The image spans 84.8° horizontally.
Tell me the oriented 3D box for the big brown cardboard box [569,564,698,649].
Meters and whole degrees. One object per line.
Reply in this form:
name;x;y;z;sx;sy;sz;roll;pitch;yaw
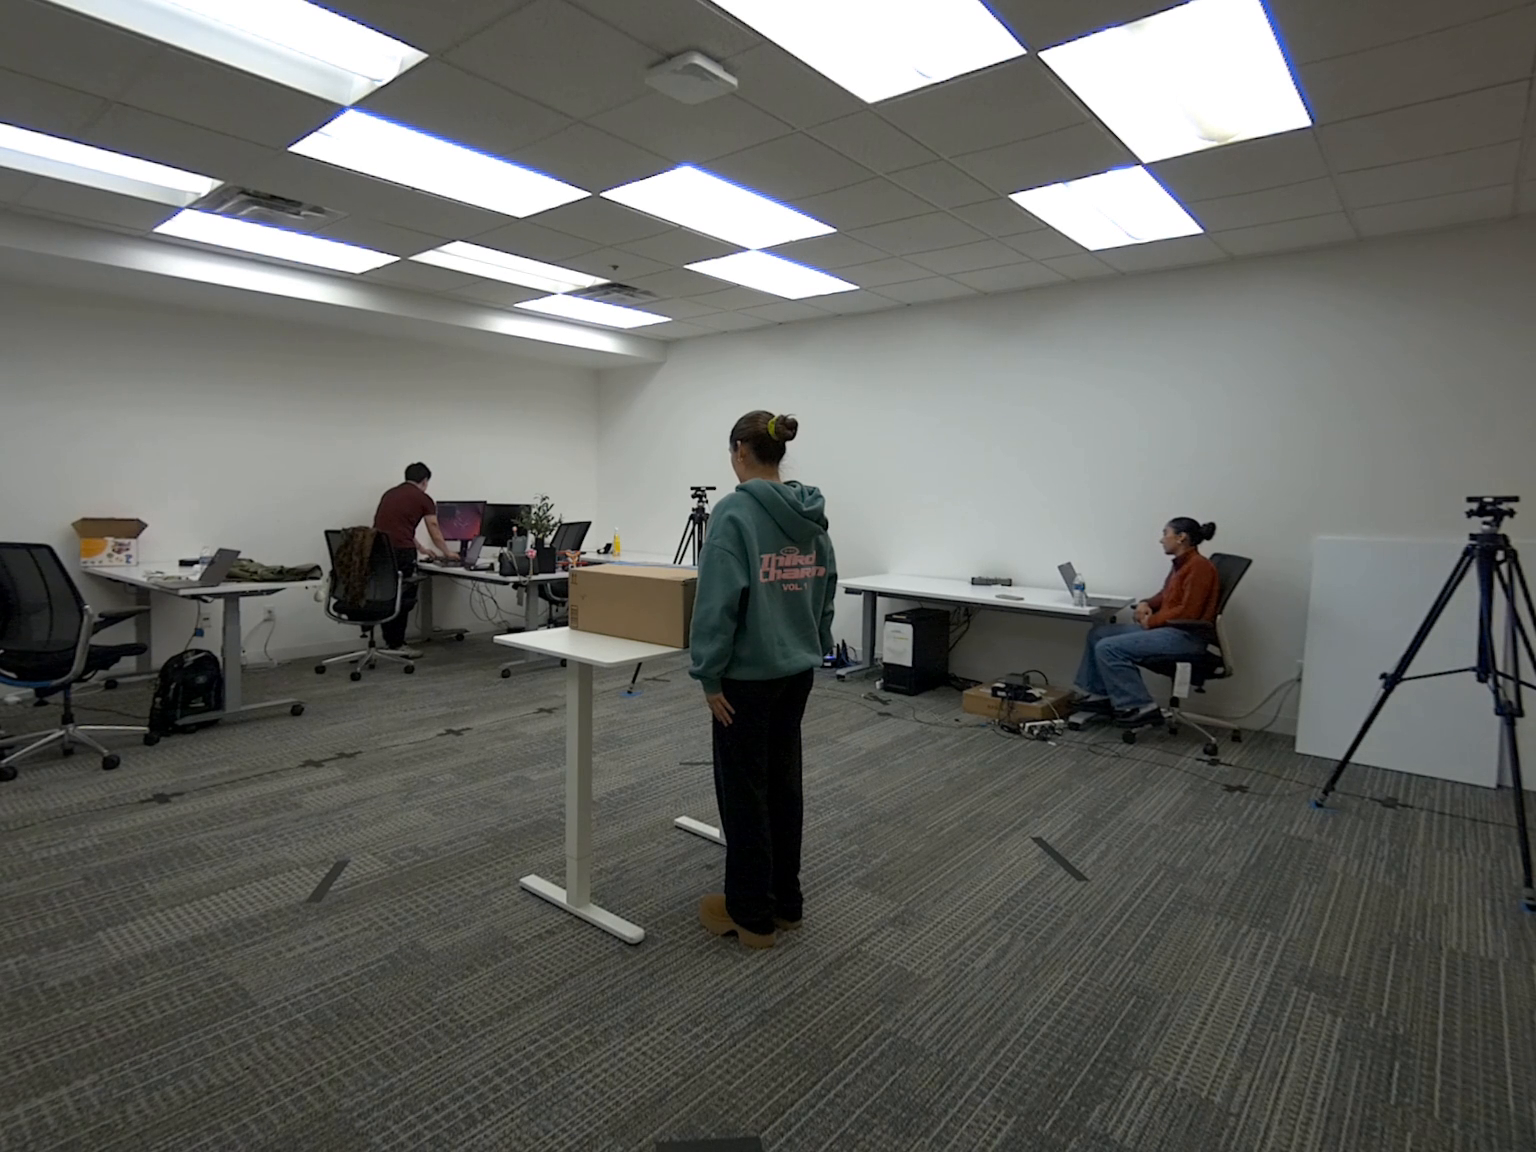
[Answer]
big brown cardboard box;-0.366;0.083;2.984;0.608;0.232;0.405;4;6;39
